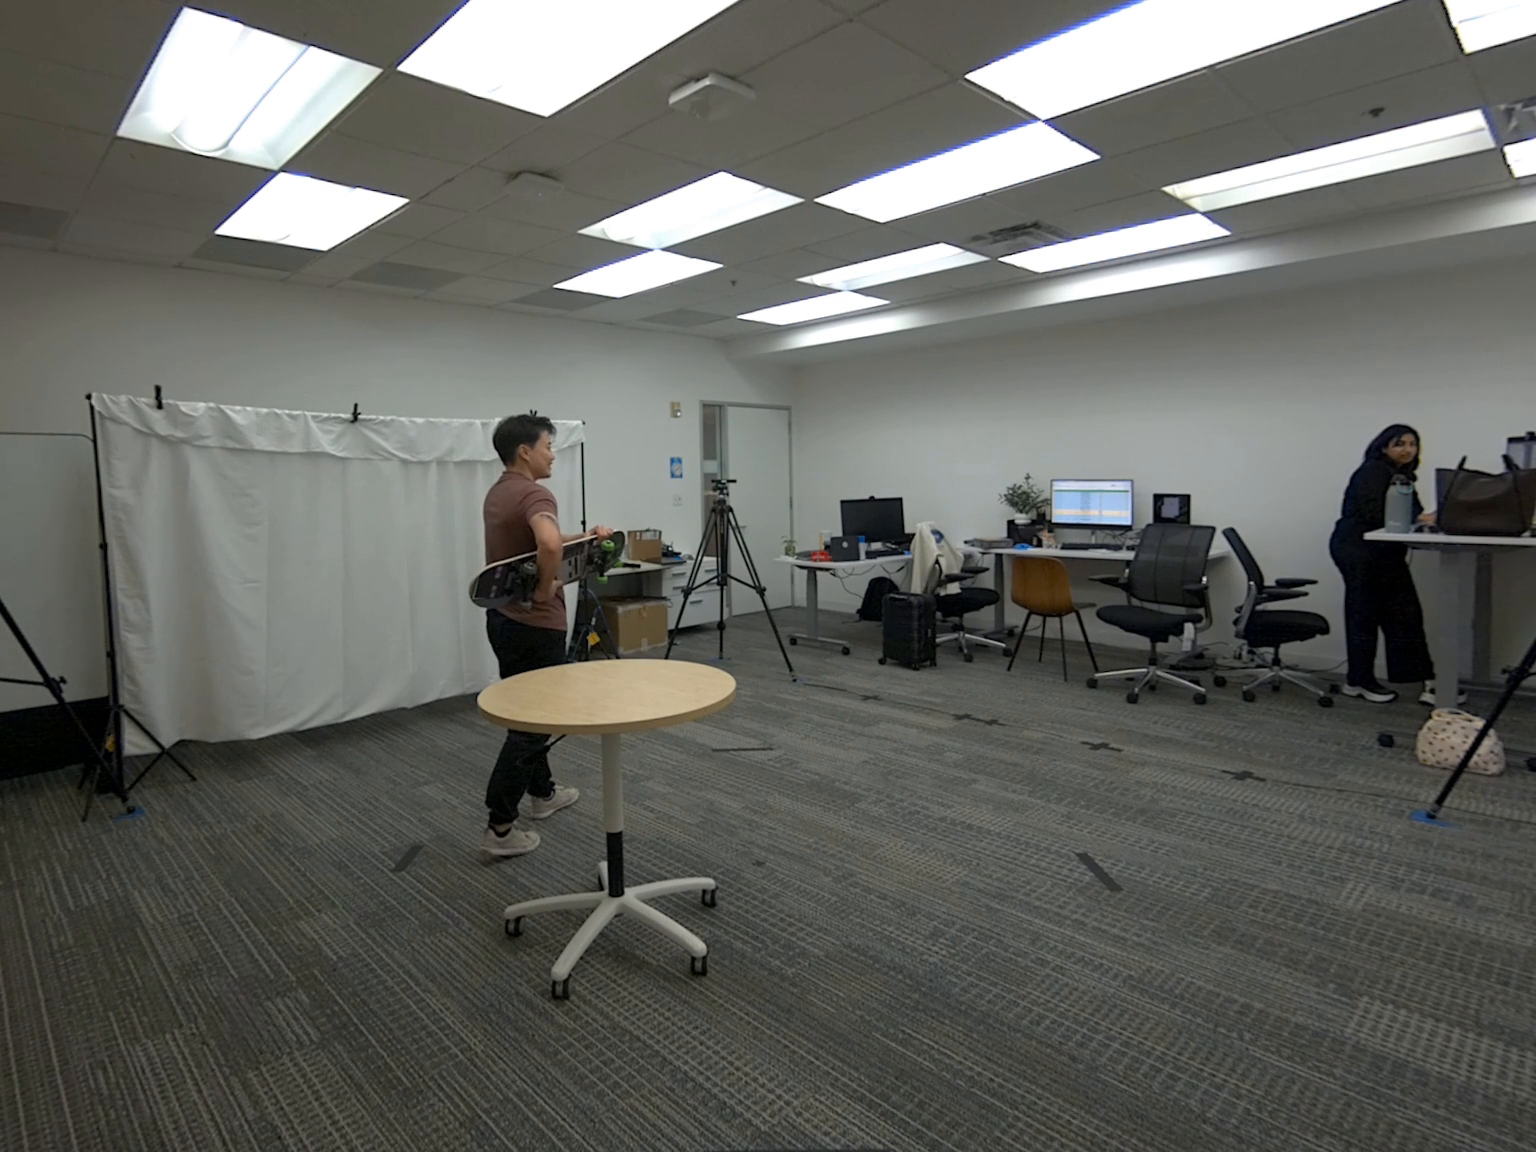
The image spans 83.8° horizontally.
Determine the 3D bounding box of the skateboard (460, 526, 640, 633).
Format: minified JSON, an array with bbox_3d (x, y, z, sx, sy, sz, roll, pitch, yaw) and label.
[{"bbox_3d":[-0.813,-0.007,3.287,0.114,0.191,0.772,29,29,25],"label":"skateboard"}]
